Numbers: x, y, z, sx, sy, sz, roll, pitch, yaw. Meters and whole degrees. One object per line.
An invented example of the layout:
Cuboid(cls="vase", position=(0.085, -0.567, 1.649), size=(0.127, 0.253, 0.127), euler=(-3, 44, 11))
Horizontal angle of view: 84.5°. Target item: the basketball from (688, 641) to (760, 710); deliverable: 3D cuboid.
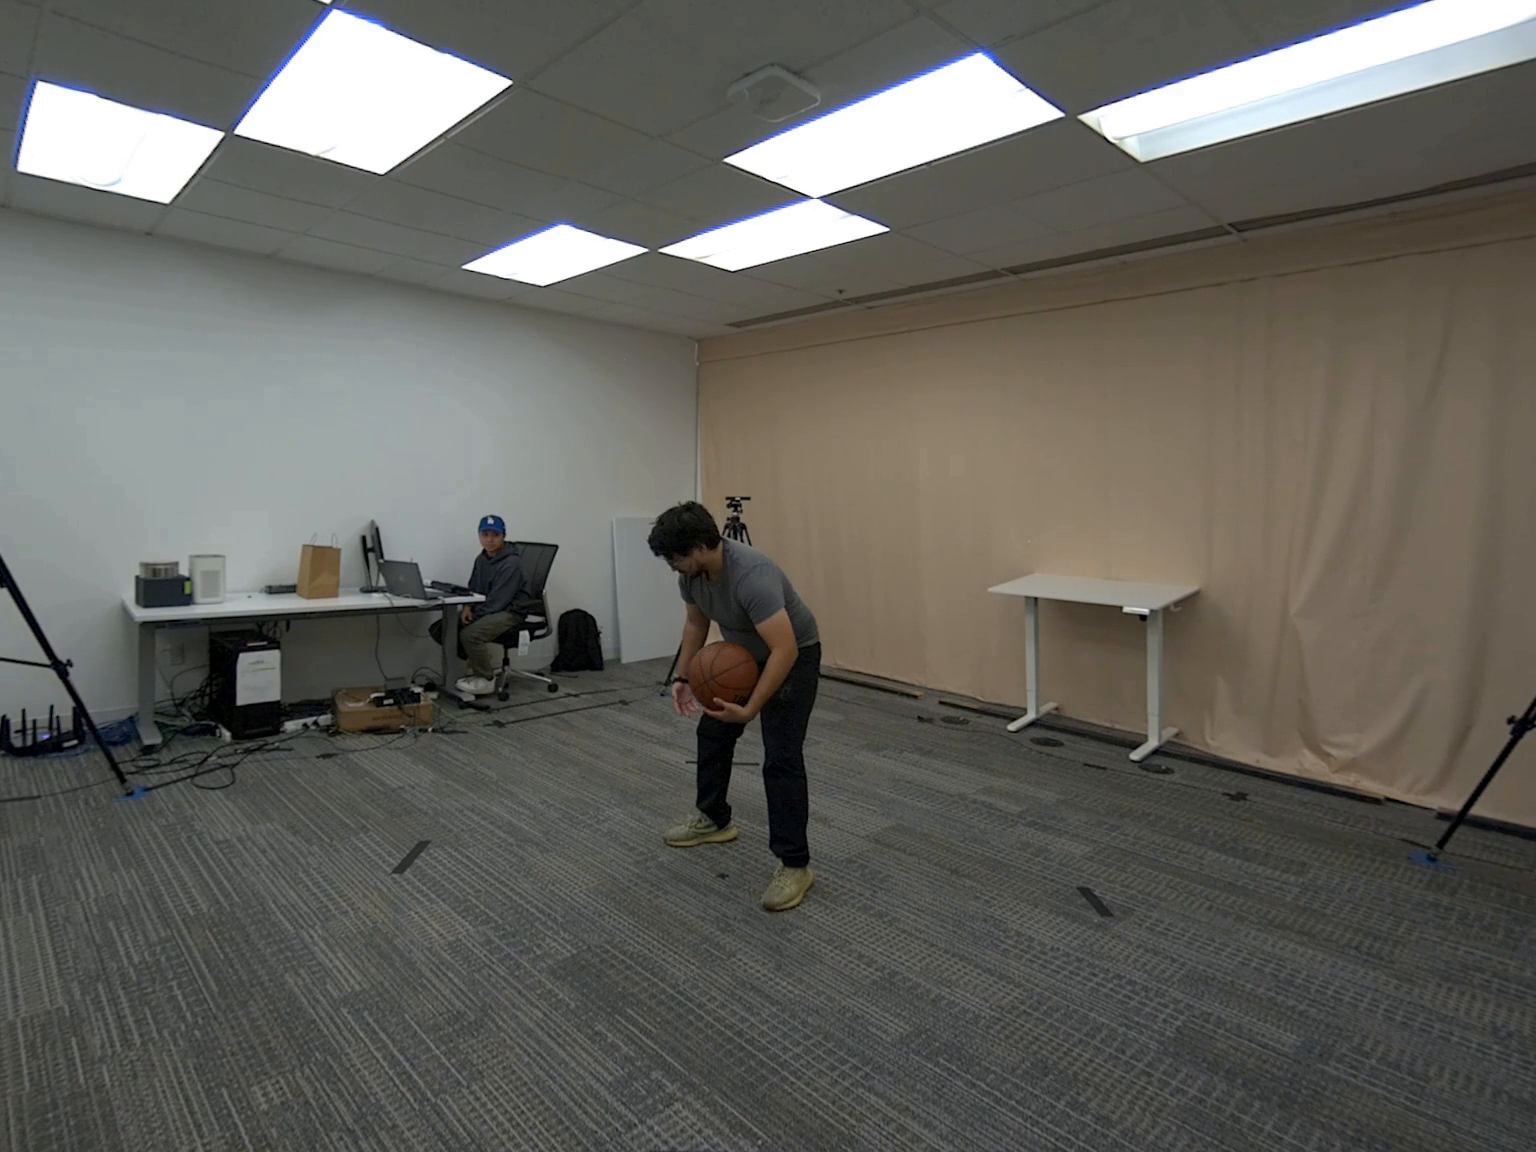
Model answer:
Cuboid(cls="basketball", position=(-0.162, 0.338, 2.831), size=(0.236, 0.235, 0.237), euler=(1, 4, -1))
